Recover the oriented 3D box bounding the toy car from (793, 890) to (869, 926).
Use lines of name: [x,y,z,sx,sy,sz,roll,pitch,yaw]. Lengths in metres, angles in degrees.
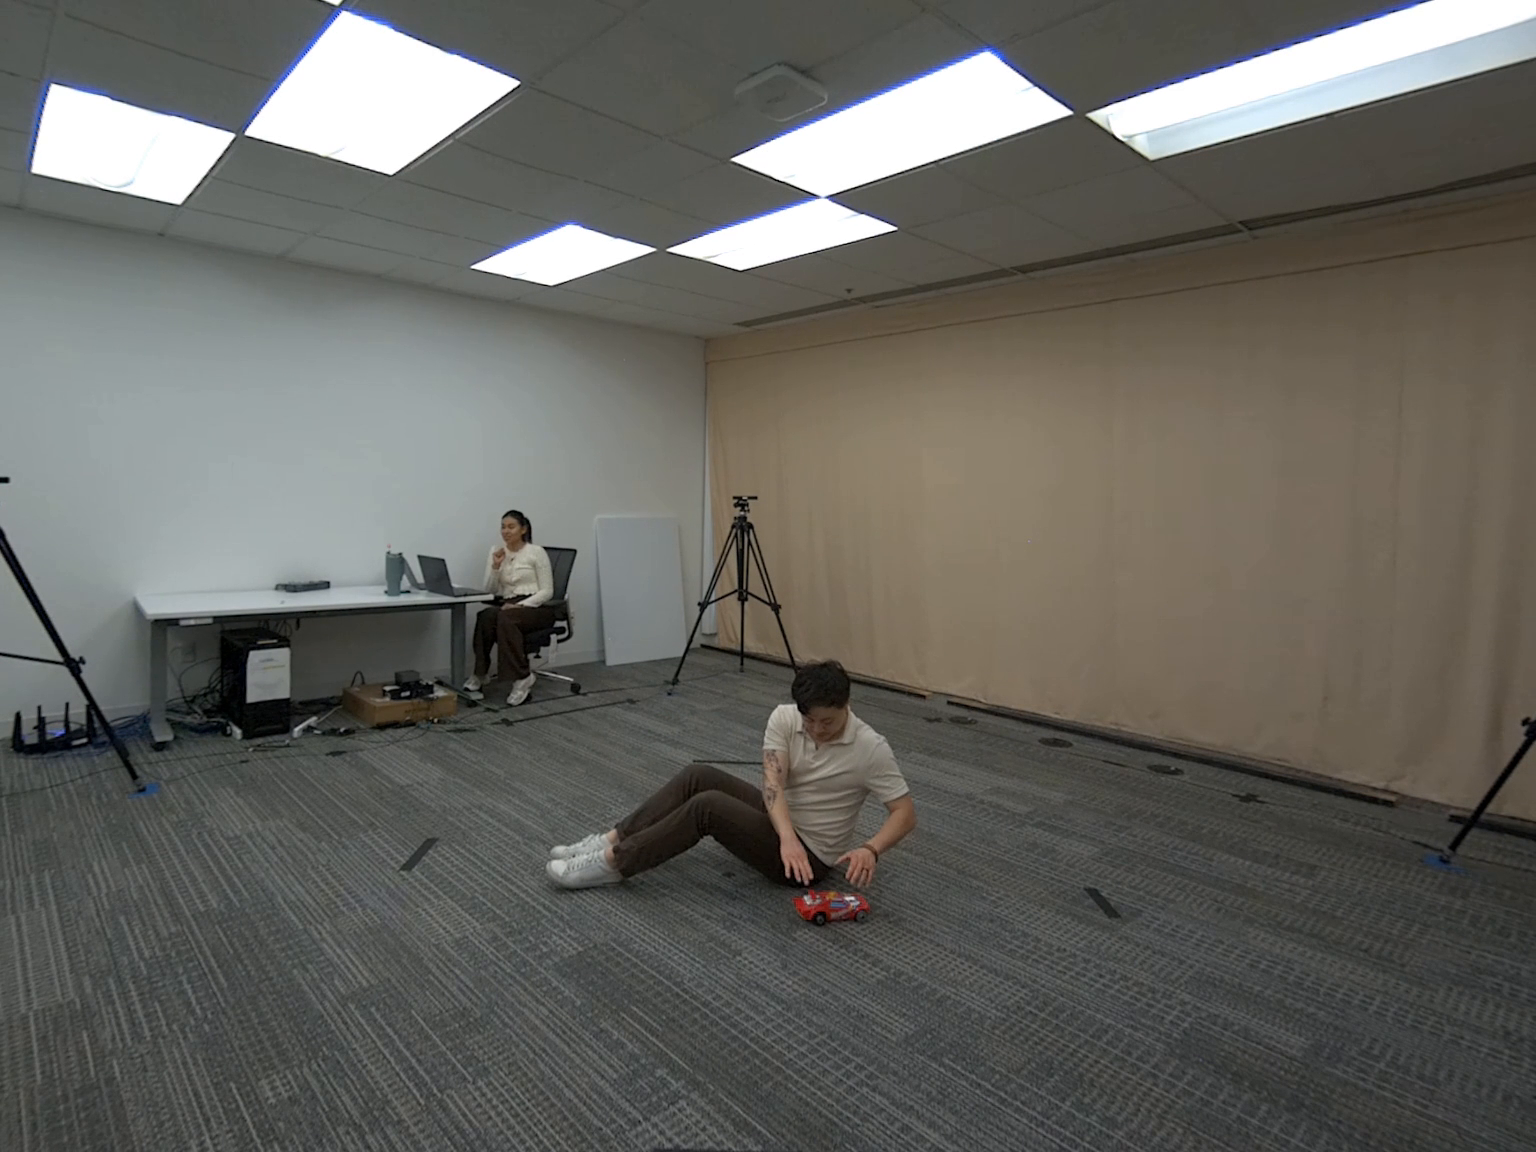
toy car: [0.196,1.109,2.804,0.252,0.083,0.132,11,4,-12]
